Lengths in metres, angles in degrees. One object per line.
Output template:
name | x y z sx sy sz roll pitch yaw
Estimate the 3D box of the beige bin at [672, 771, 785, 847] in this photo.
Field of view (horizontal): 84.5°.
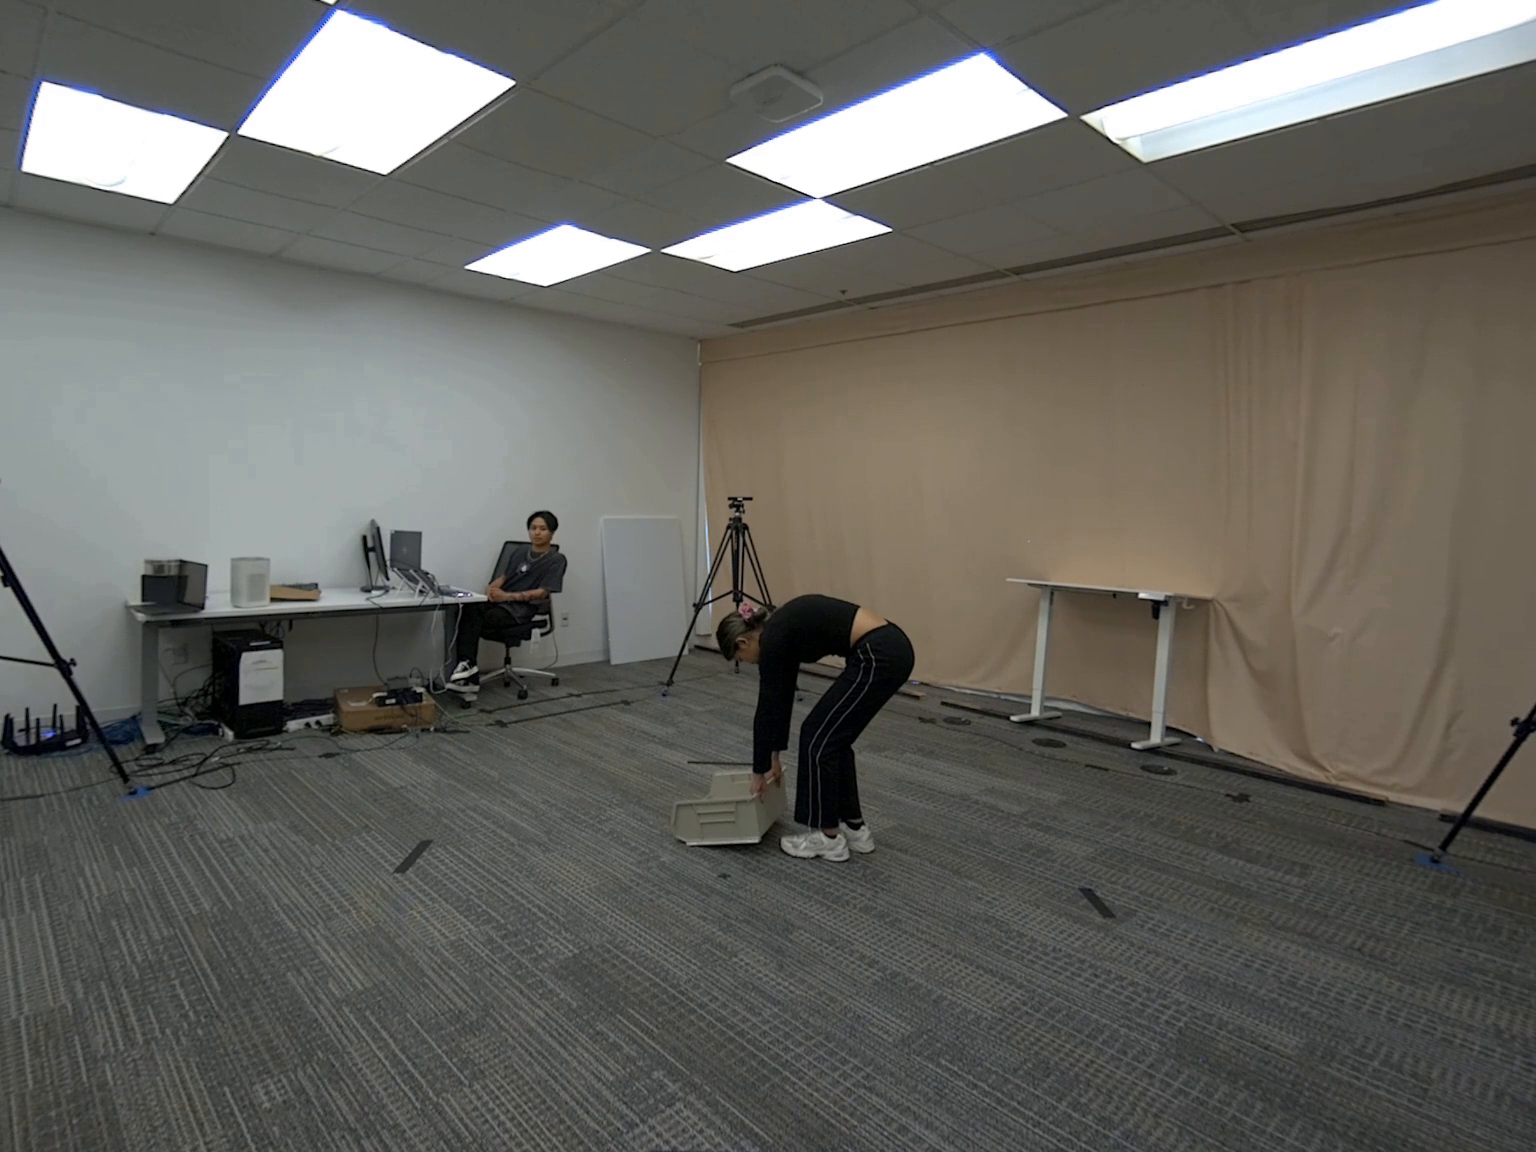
beige bin | -0.161 0.957 3.518 0.382 0.189 0.416 -8 0 19
